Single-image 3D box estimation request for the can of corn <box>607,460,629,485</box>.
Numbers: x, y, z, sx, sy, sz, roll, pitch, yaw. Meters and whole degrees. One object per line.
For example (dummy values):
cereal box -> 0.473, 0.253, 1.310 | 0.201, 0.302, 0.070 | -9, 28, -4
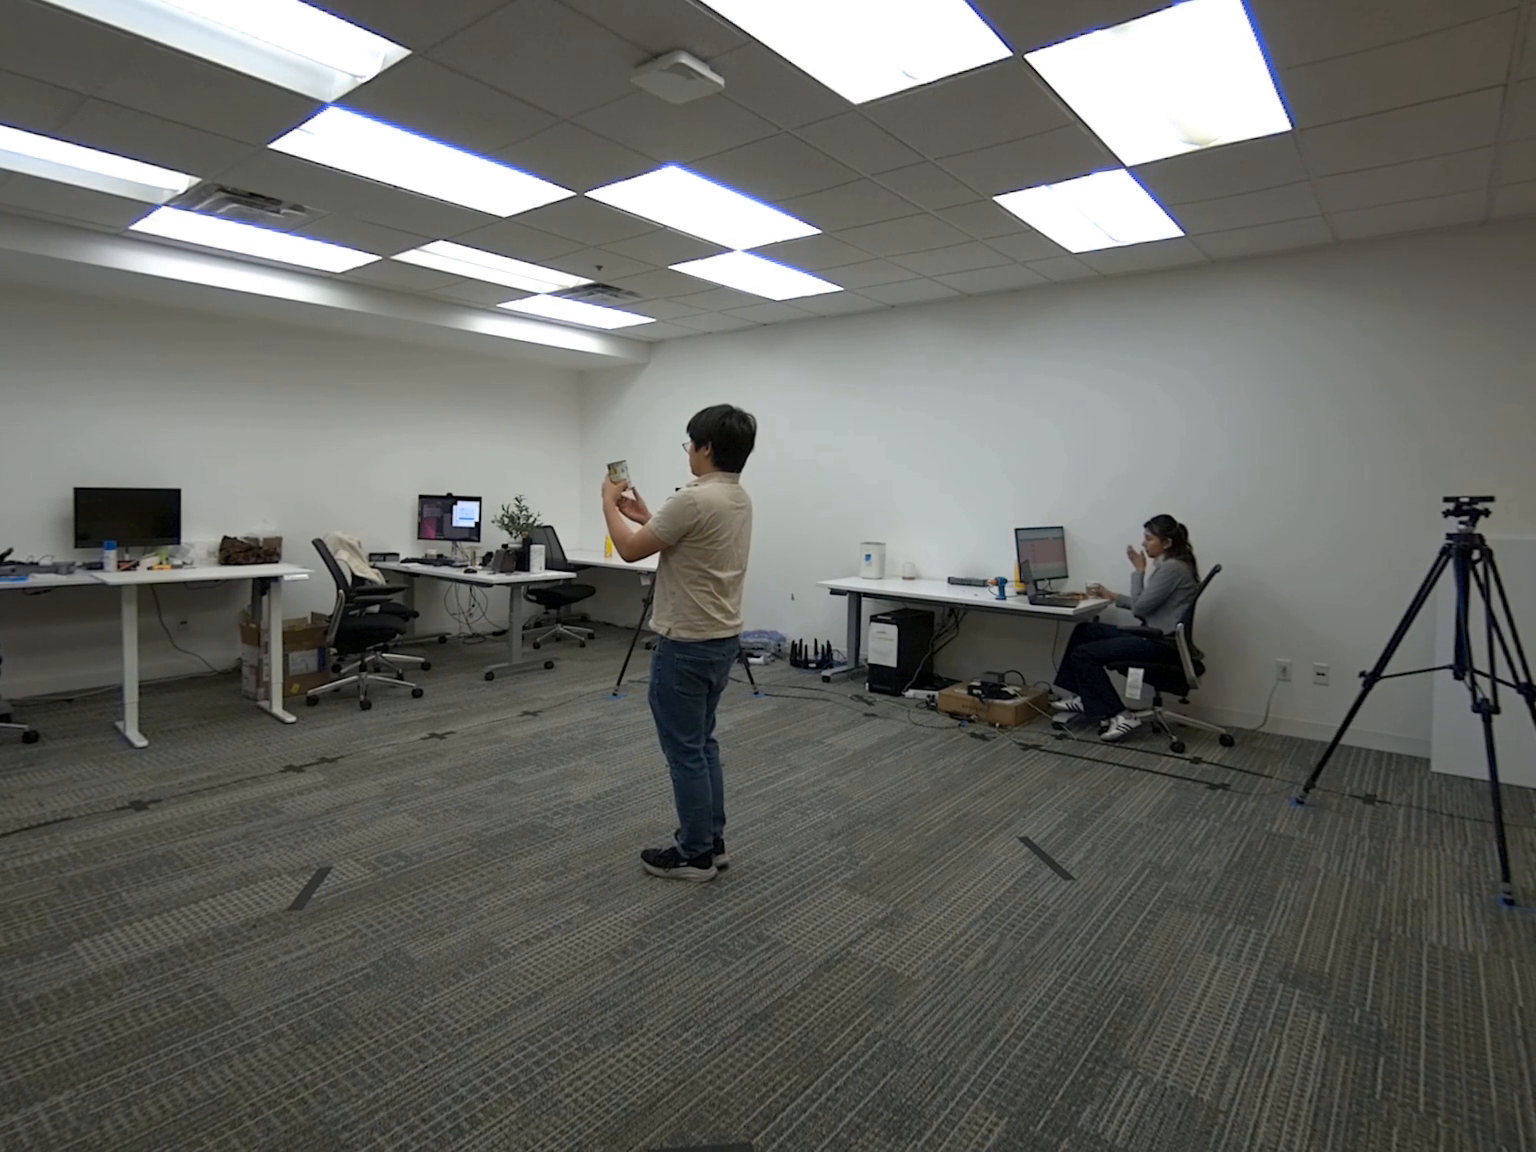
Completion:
can of corn -> -0.564, -0.374, 3.163 | 0.074, 0.110, 0.074 | -12, 5, -1
